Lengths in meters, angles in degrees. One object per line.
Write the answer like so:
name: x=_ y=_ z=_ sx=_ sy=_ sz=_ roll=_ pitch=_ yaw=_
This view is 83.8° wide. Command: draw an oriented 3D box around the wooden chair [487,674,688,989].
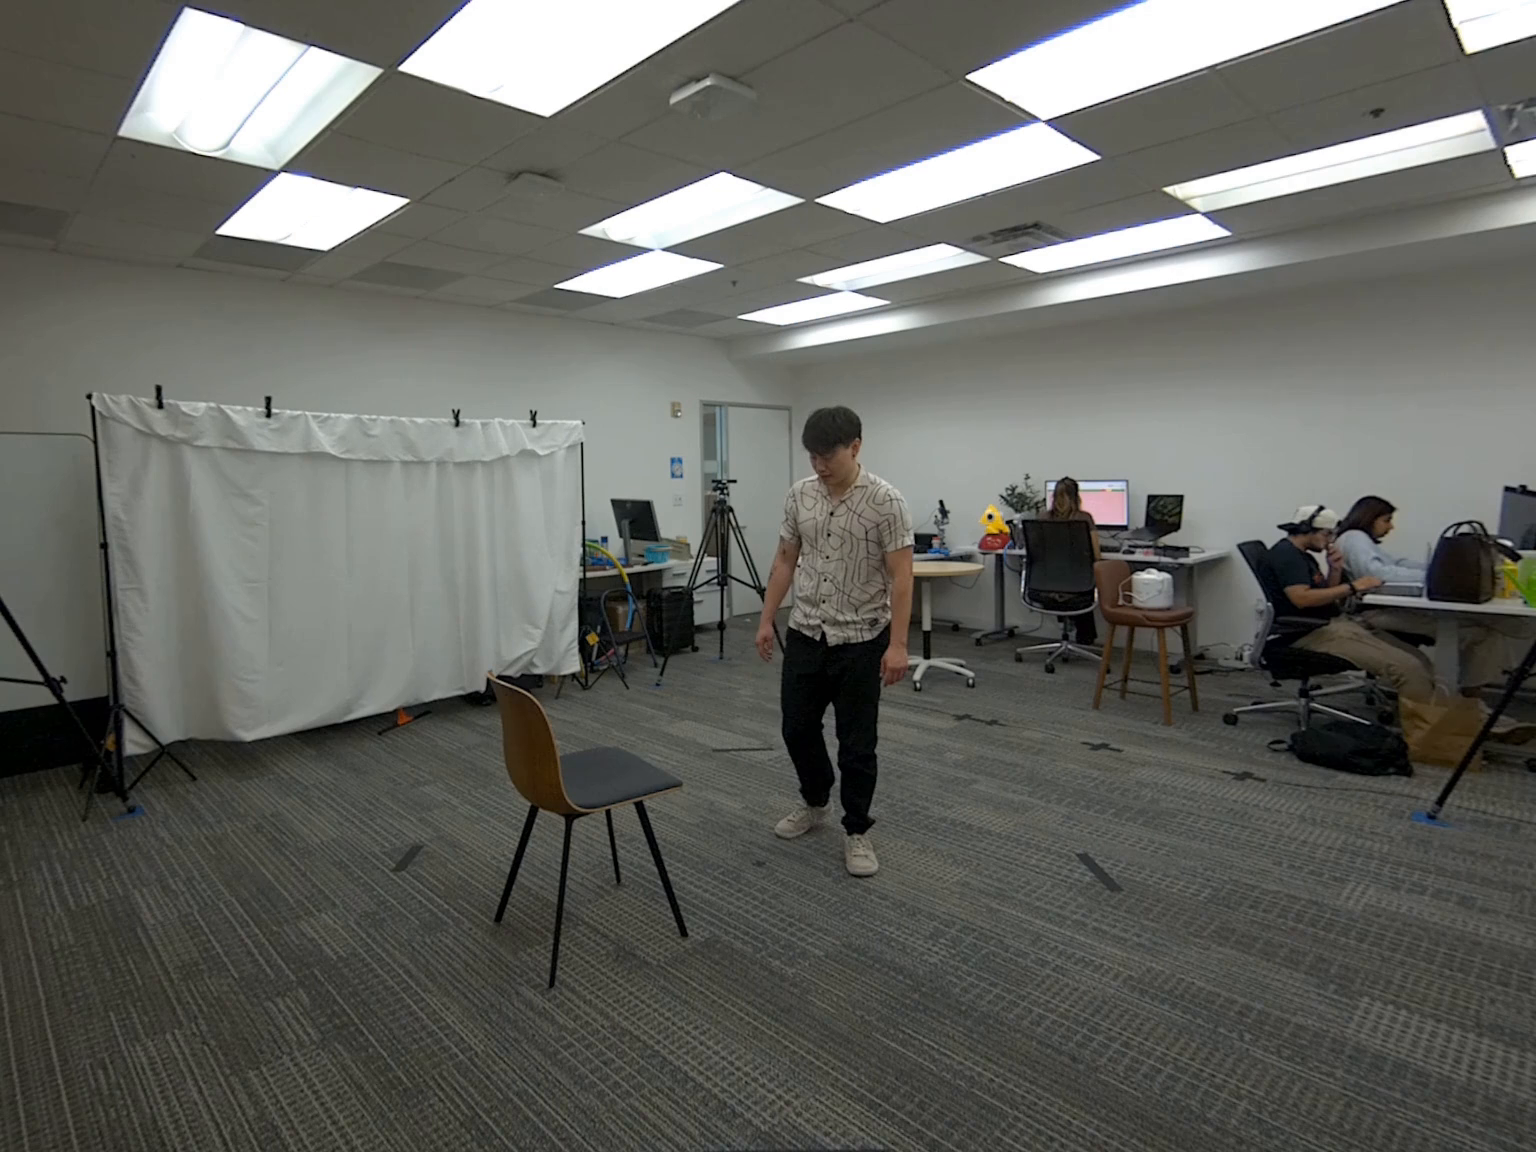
wooden chair: x=-0.561 y=0.683 z=2.652 sx=0.511 sy=0.872 sz=0.492 roll=-10 pitch=8 yaw=-35
